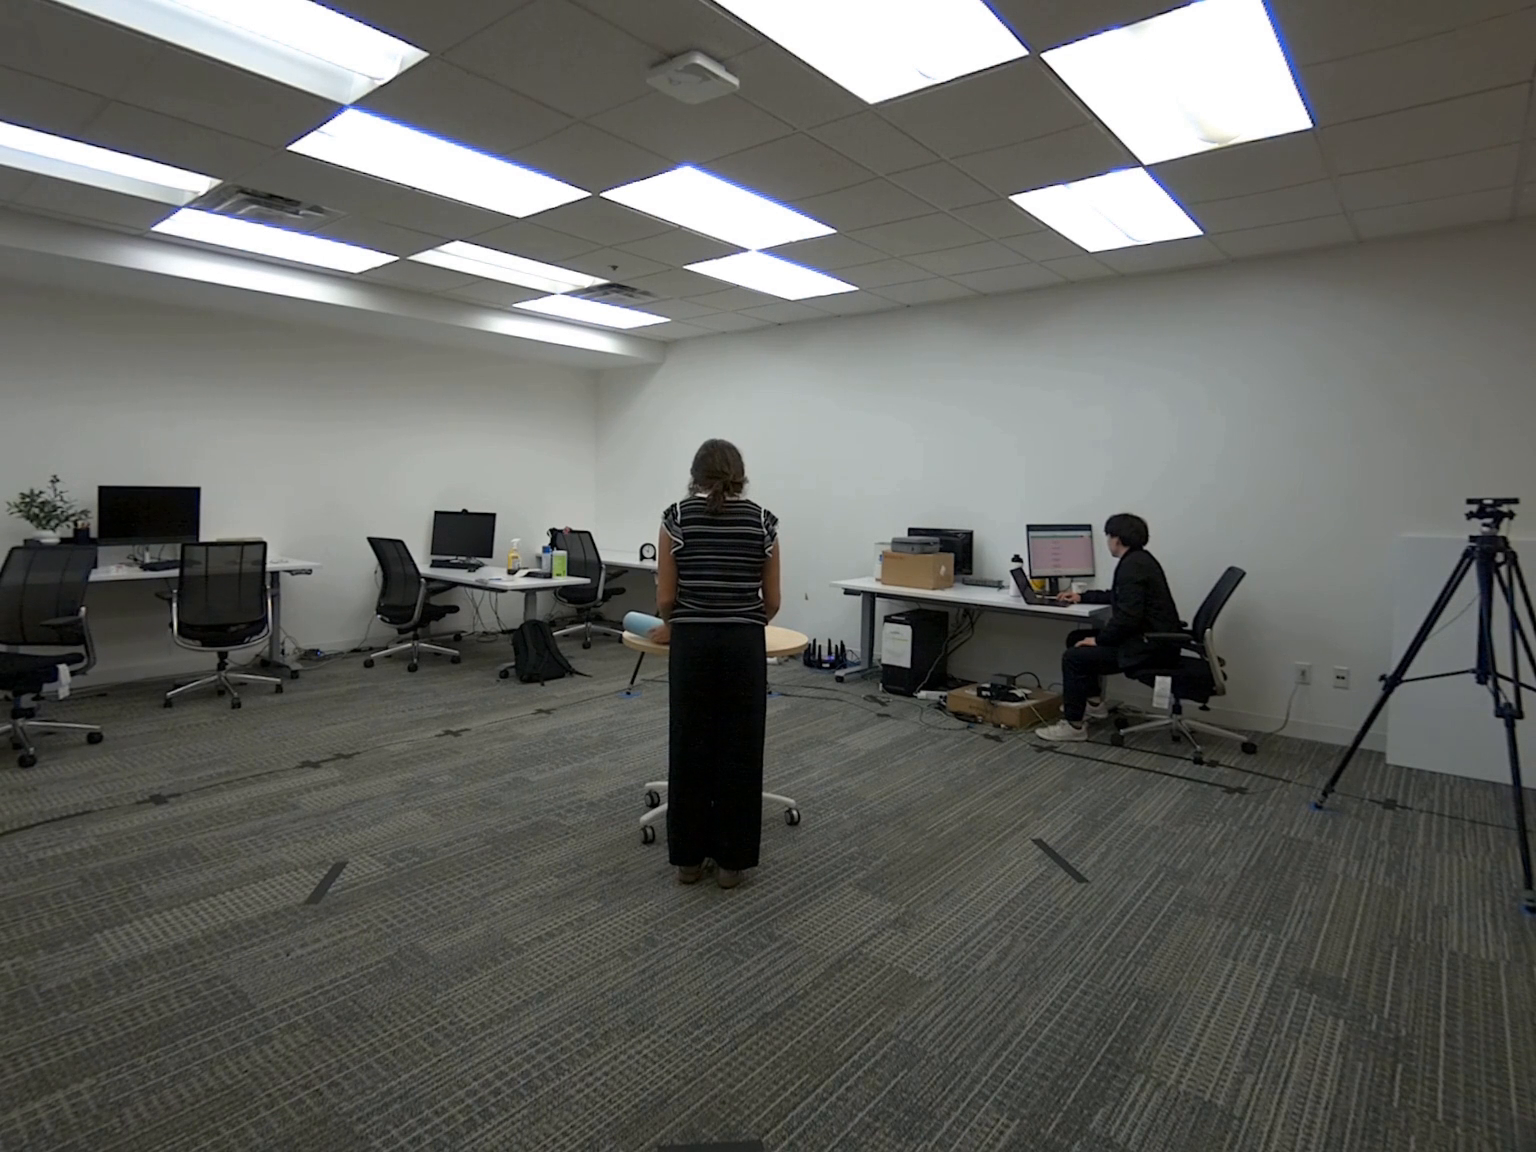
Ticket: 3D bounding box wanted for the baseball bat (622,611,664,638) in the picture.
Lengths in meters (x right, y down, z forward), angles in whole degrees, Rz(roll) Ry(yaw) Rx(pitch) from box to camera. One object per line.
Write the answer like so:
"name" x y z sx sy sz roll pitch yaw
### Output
"baseball bat" -0.351 0.231 3.273 0.563 0.088 0.086 13 10 38
